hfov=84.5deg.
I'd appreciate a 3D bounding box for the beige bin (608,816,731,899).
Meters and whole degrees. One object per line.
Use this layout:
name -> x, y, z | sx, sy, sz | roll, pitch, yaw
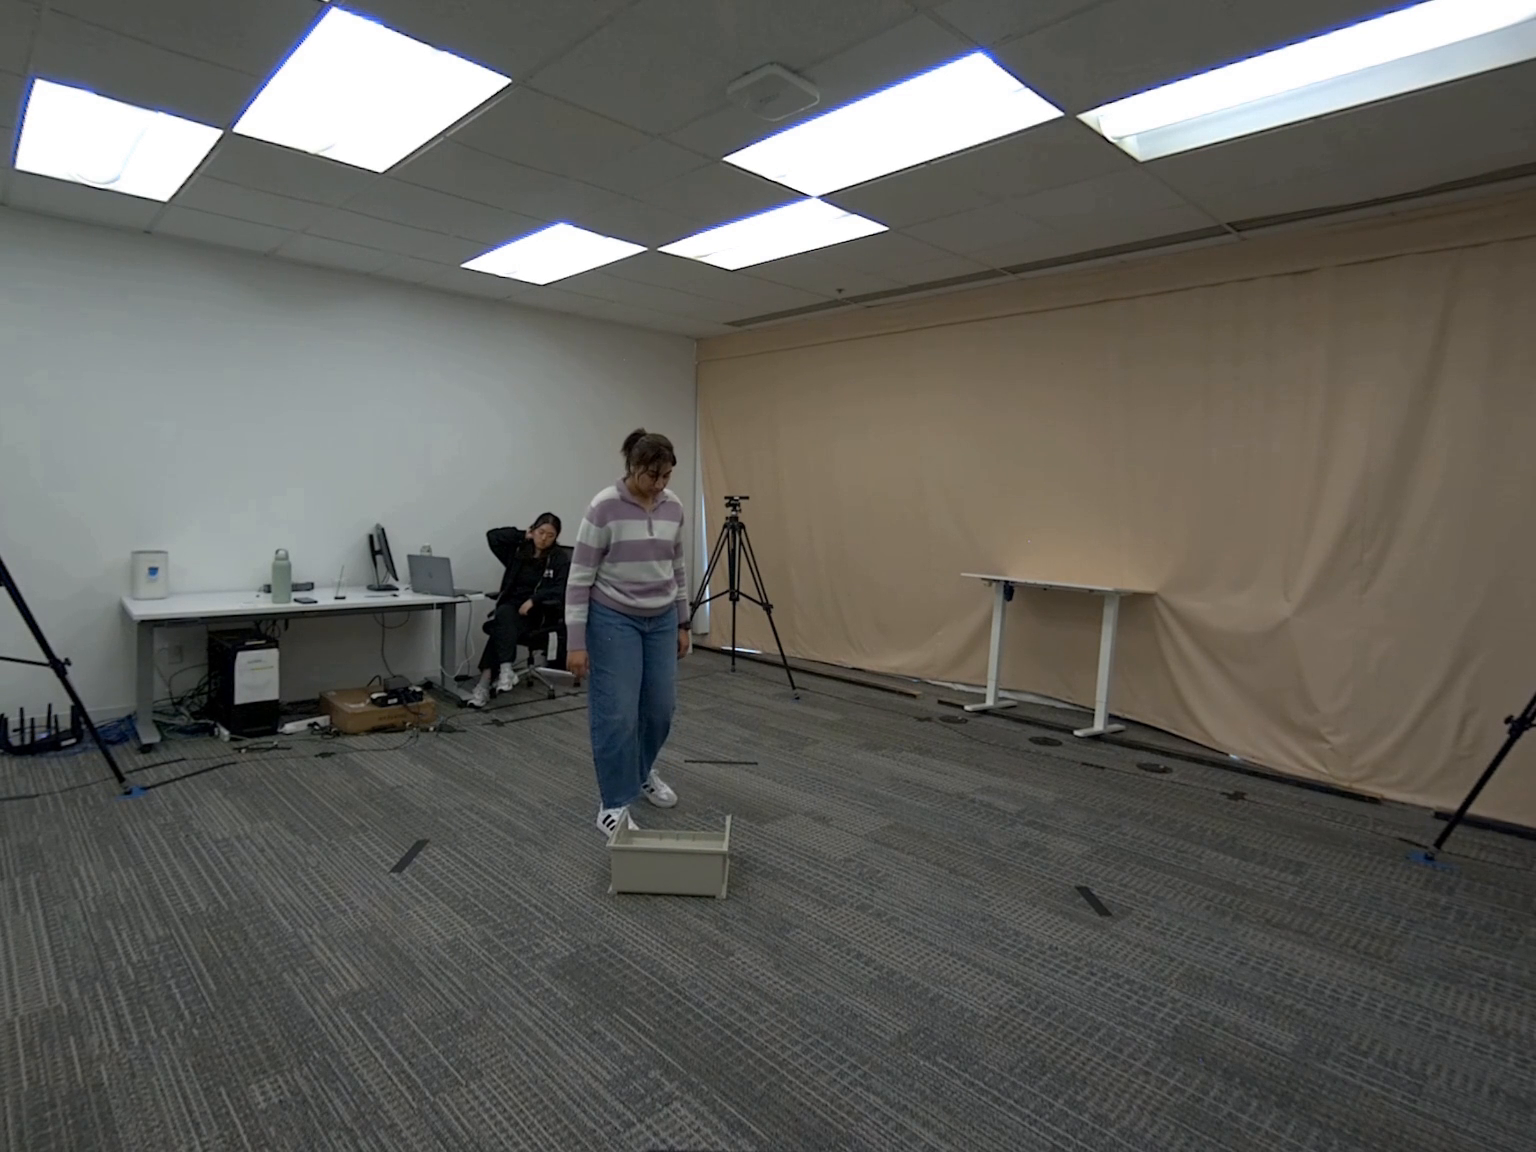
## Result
beige bin -> -0.357, 1.012, 3.093 | 0.423, 0.188, 0.378 | 2, 5, 1
